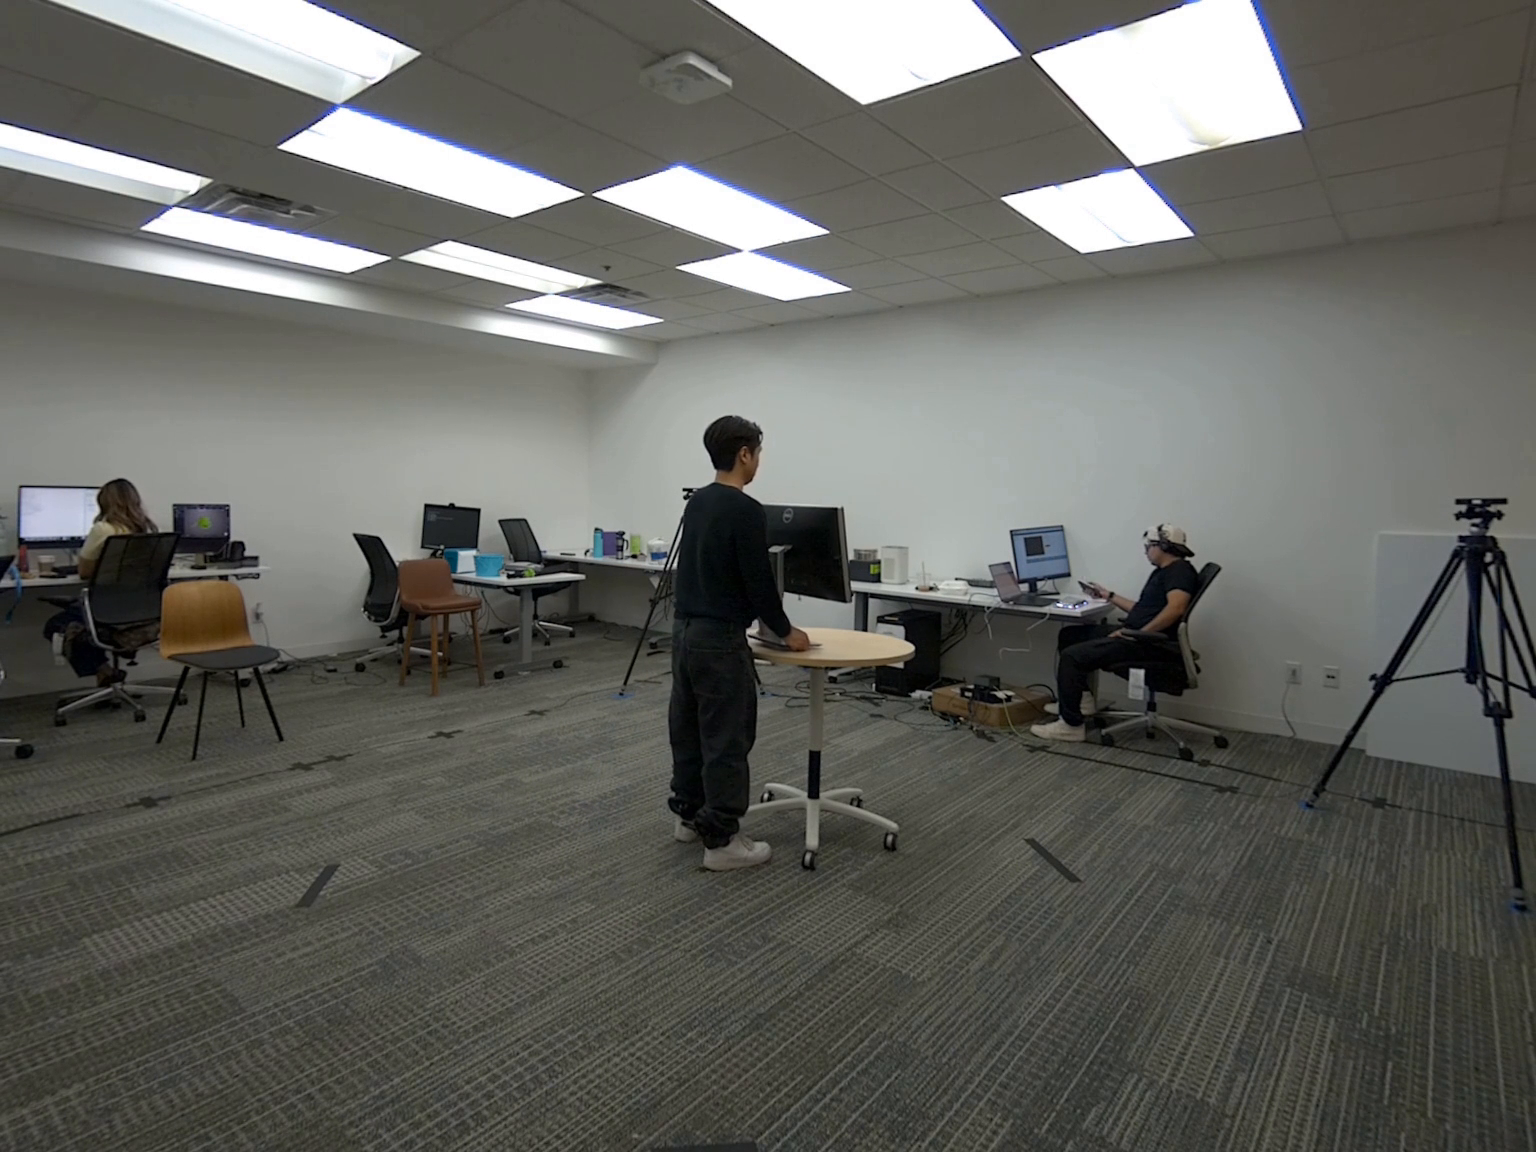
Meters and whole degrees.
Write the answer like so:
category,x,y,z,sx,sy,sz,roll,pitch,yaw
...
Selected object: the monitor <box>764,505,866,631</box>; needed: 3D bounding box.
category,x,y,z,sx,sy,sz,roll,pitch,yaw
monitor,0.079,-0.010,3.331,0.181,0.521,0.557,2,3,-38
